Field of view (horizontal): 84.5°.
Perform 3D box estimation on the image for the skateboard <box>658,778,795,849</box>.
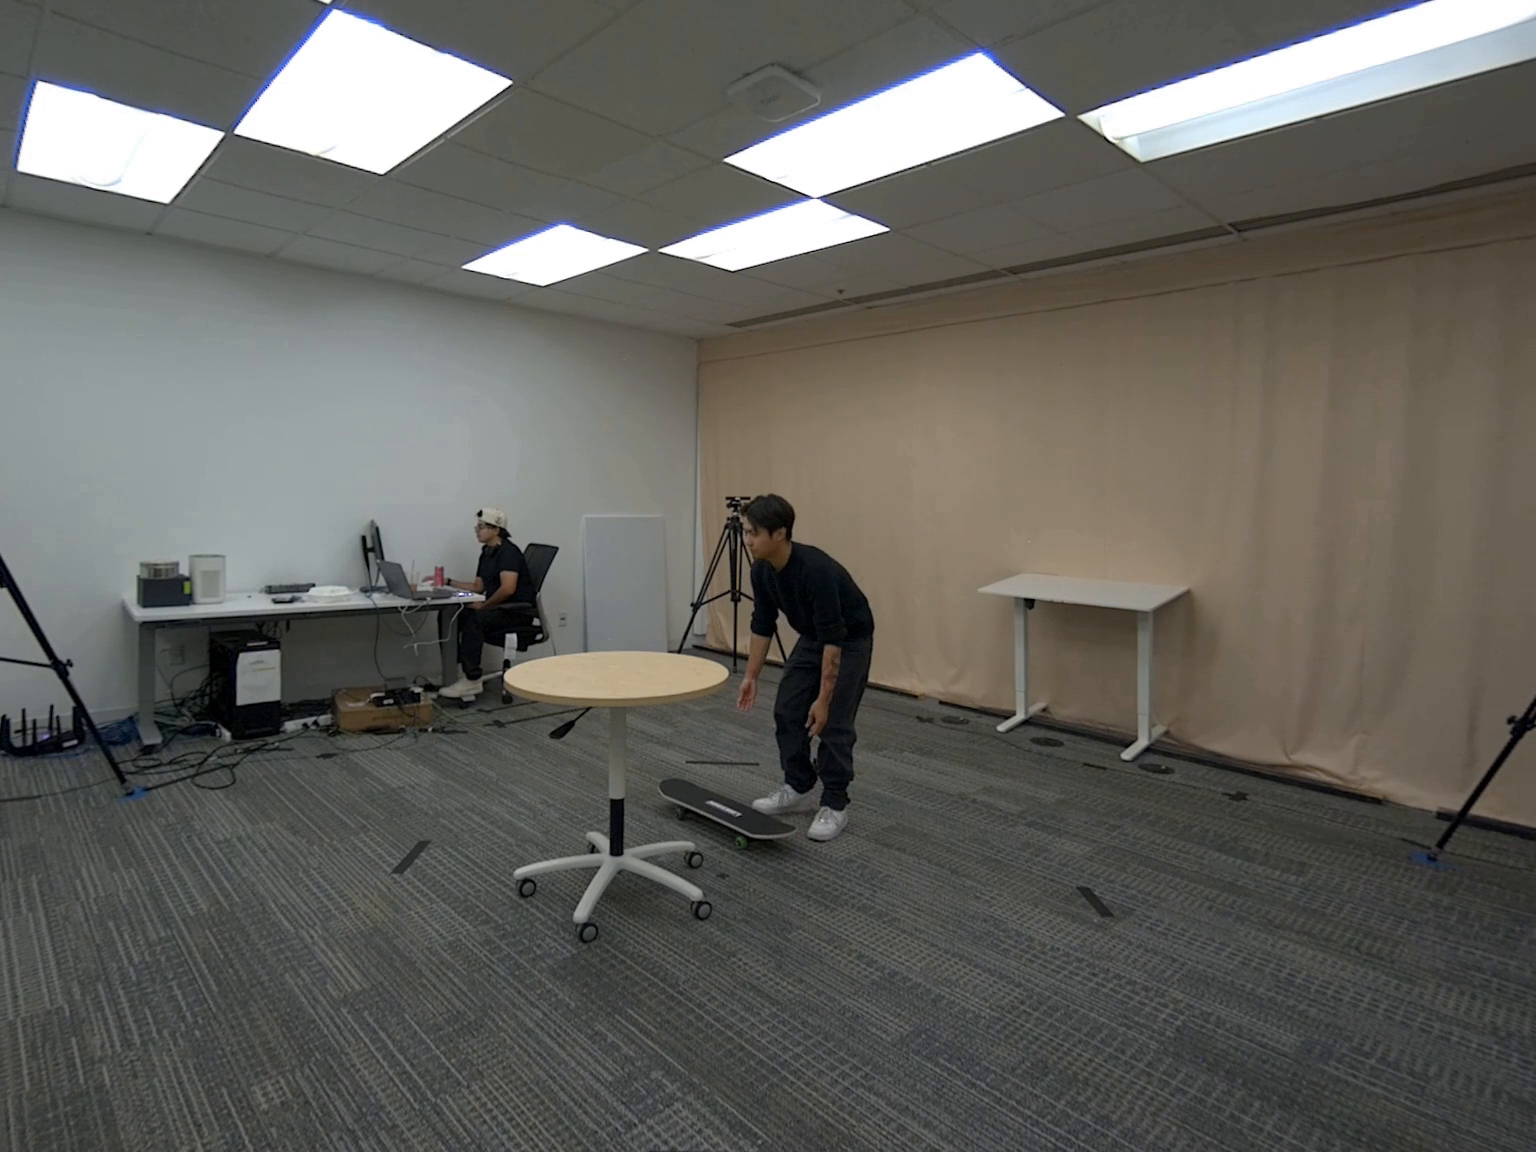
[{"bbox_3d":[-0.197,1.015,3.553,0.189,0.110,0.806,-3,7,-42],"label":"skateboard"}]
